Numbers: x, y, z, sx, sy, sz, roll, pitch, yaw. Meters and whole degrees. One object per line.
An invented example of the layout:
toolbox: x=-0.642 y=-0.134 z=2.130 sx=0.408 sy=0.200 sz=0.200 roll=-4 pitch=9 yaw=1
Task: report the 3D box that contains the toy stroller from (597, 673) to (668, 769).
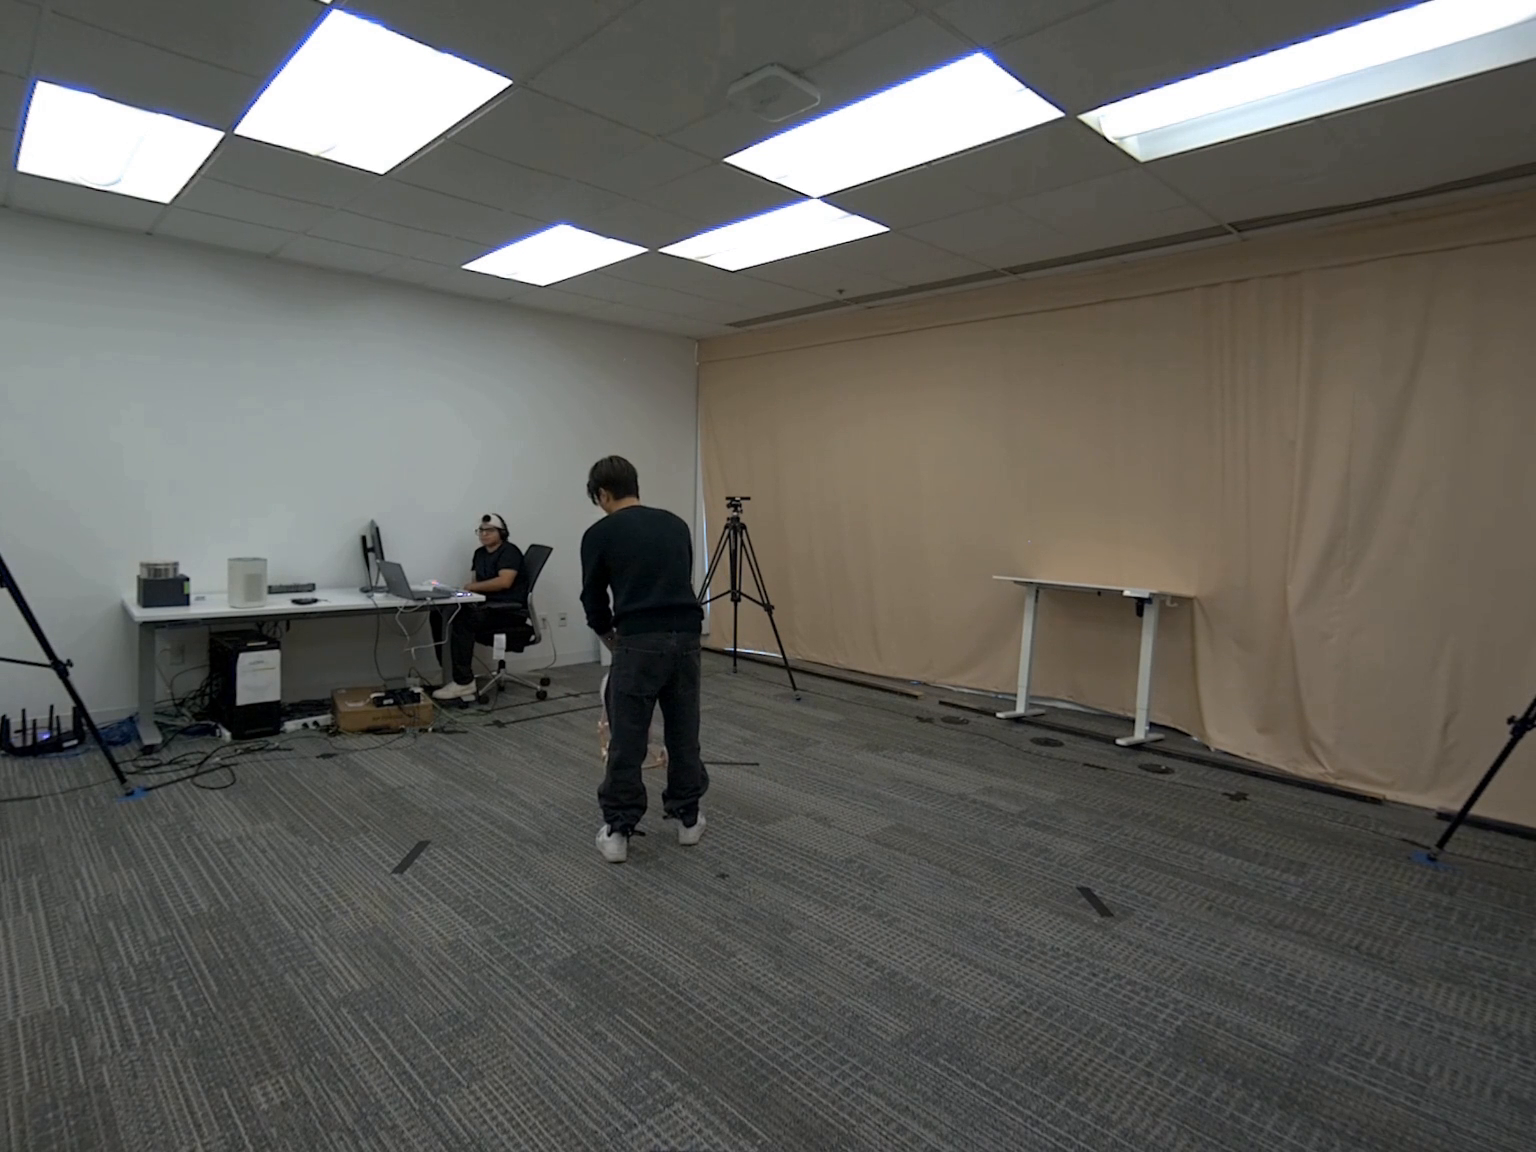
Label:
toy stroller: x=-0.607 y=0.643 z=3.623 sx=0.276 sy=0.536 sz=0.346 roll=-3 pitch=-3 yaw=-26
